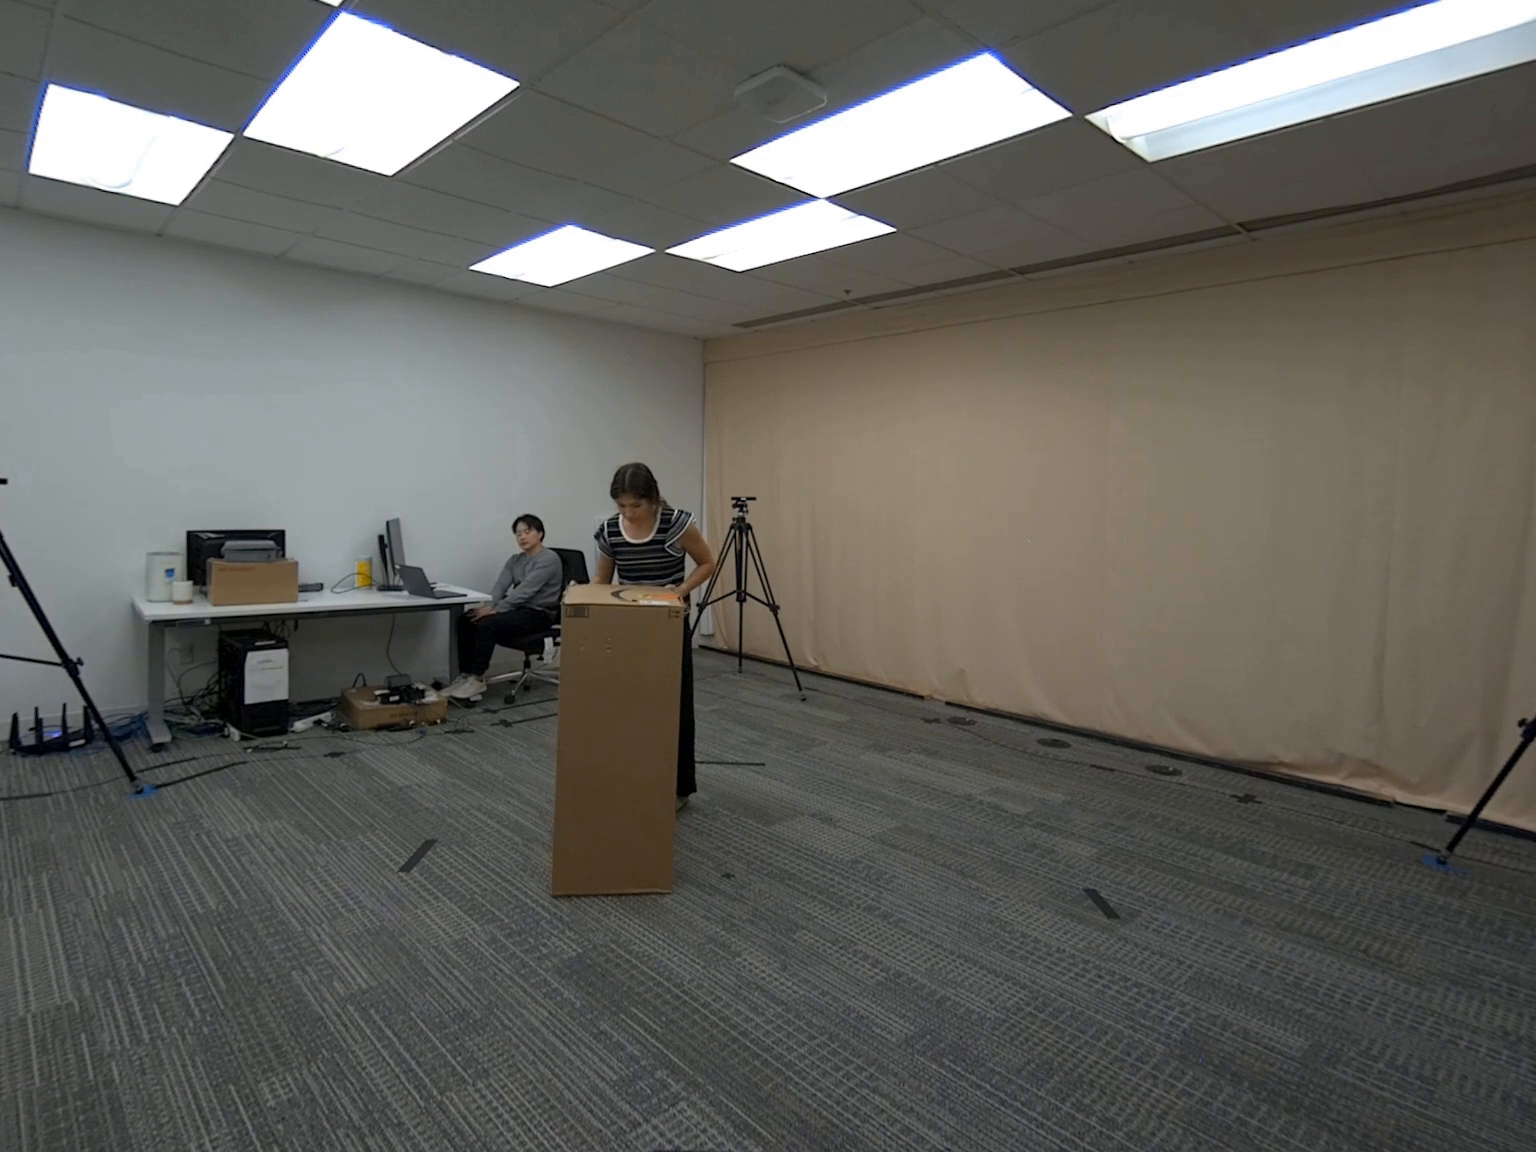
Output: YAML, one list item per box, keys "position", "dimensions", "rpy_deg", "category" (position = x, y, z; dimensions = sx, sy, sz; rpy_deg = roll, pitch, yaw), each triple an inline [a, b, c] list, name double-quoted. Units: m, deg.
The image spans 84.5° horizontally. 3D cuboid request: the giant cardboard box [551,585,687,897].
- position: [-0.588, 0.581, 3.187]
  dimensions: [0.423, 1.023, 0.583]
  rpy_deg: [2, 3, -9]
  category: "giant cardboard box"
